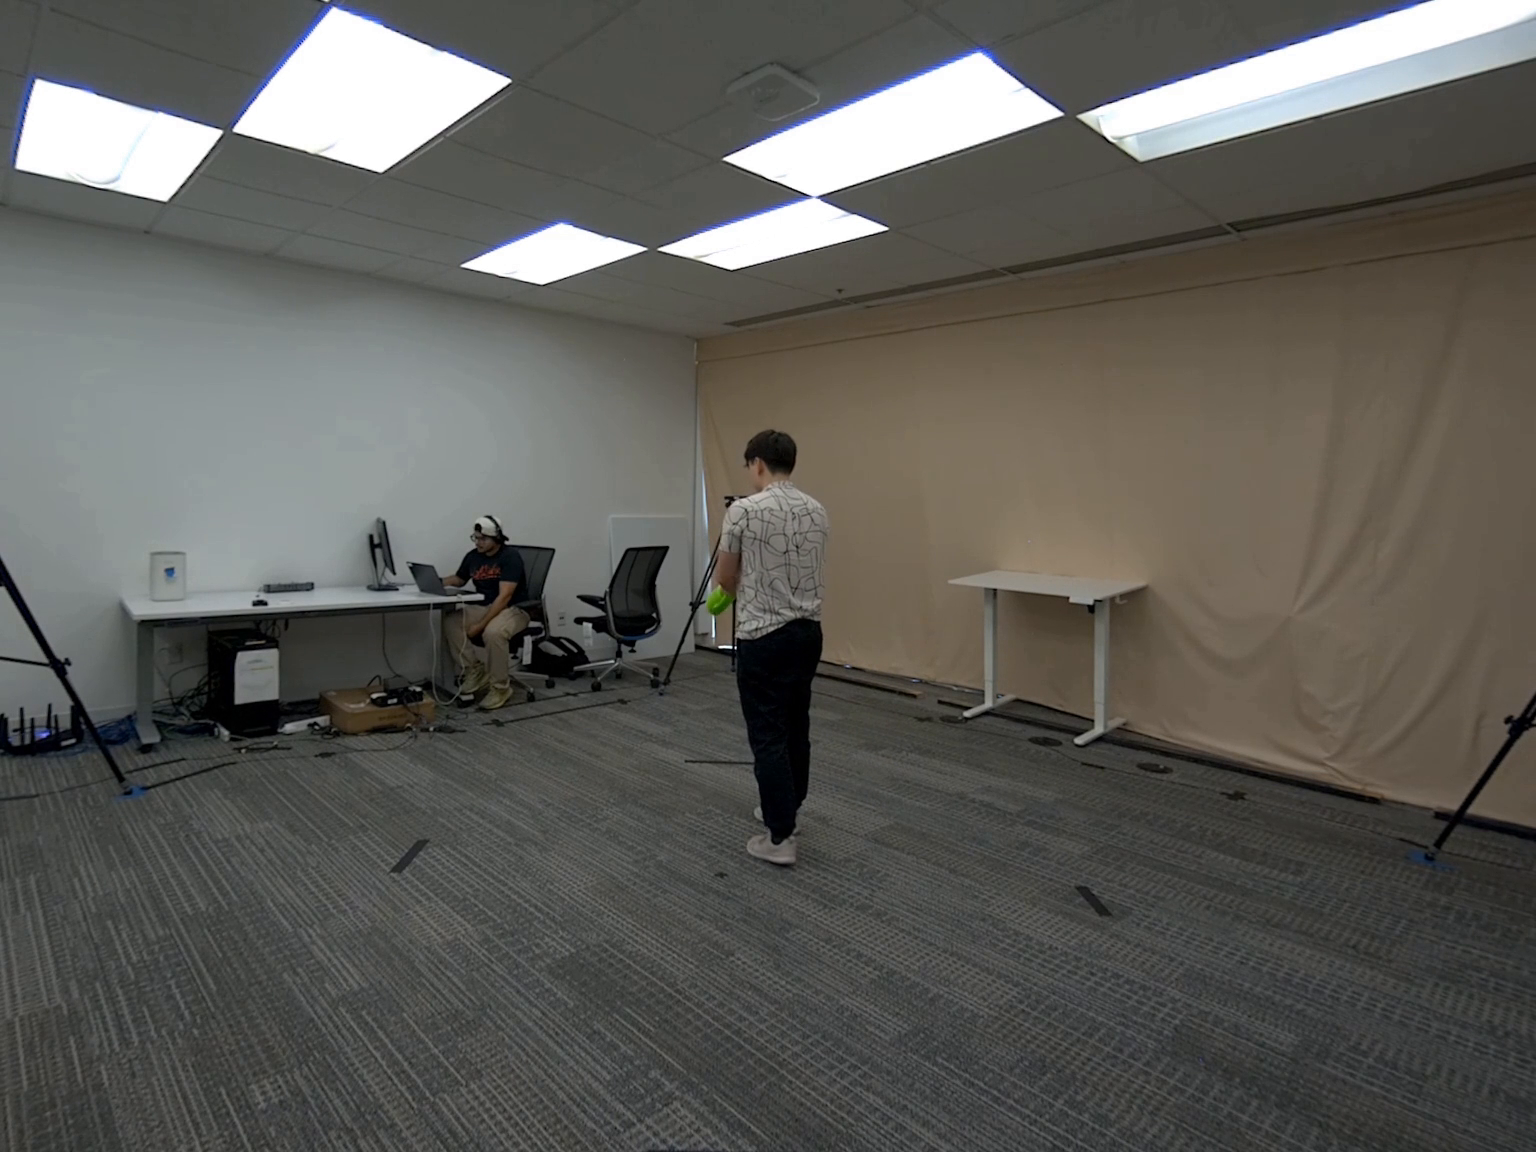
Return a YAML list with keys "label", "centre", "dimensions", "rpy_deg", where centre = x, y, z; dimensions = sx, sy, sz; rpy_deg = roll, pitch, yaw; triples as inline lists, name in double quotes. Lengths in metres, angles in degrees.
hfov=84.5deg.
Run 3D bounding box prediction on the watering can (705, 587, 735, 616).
- label: "watering can"
  centre: [-0.191, 0.071, 3.807]
  dimensions: [0.278, 0.098, 0.177]
  rpy_deg: [-47, 1, -43]
